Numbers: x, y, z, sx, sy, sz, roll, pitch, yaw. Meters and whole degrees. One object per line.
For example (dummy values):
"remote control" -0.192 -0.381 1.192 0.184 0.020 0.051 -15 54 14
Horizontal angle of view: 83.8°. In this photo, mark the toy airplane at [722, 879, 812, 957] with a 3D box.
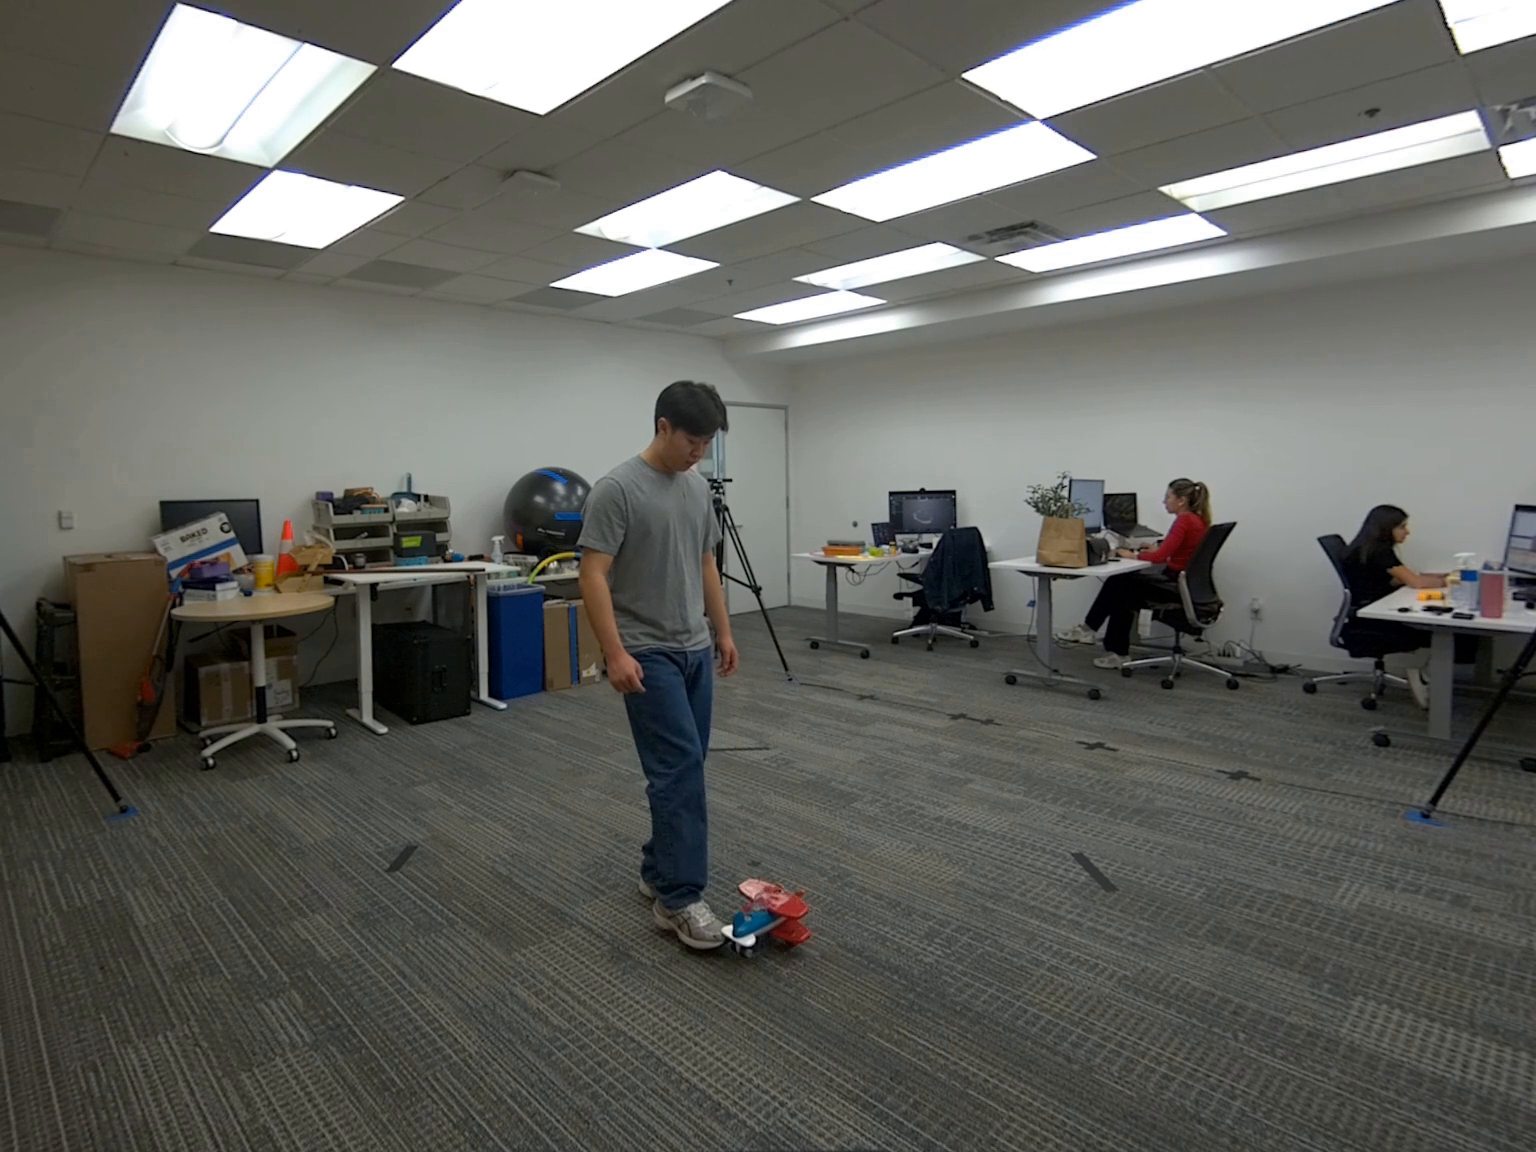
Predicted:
"toy airplane" 0.007 1.028 2.525 0.256 0.156 0.254 5 -1 17
